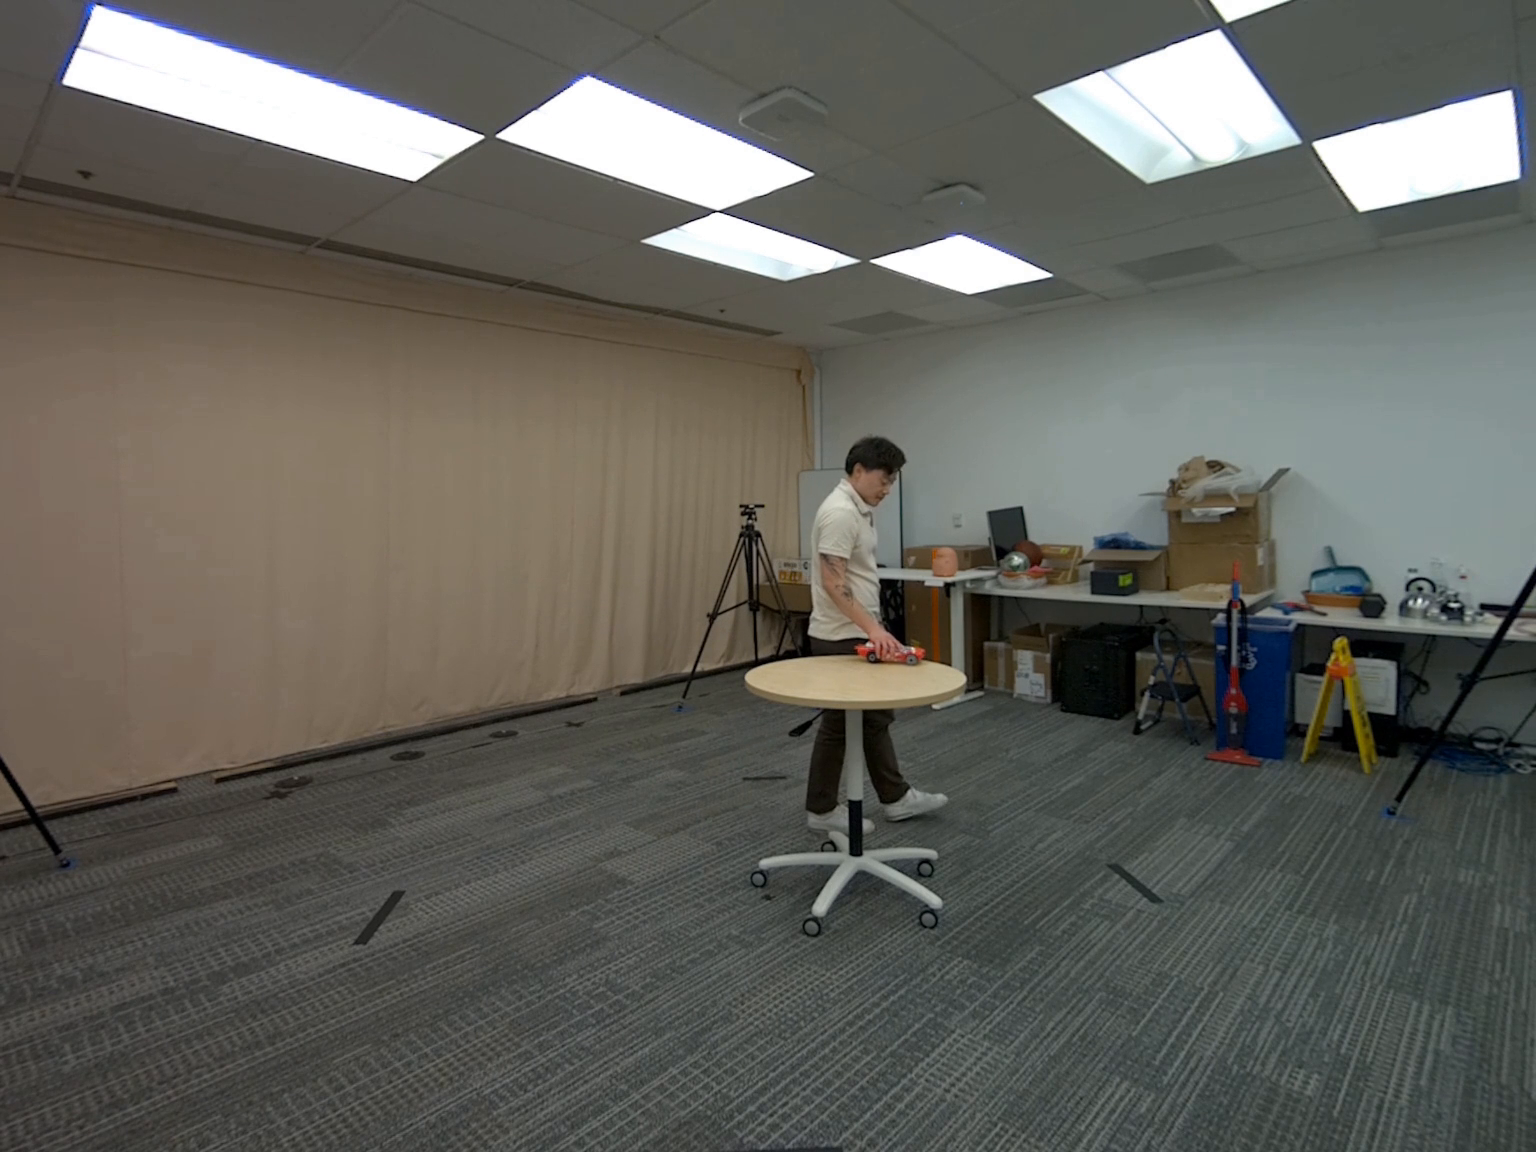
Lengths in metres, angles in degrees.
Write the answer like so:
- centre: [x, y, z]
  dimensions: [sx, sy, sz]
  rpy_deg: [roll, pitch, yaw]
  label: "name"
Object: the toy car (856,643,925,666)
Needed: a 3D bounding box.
- centre: [0.465, 0.292, 3.195]
  dimensions: [0.261, 0.083, 0.127]
  rpy_deg: [12, 10, 22]
  label: "toy car"
